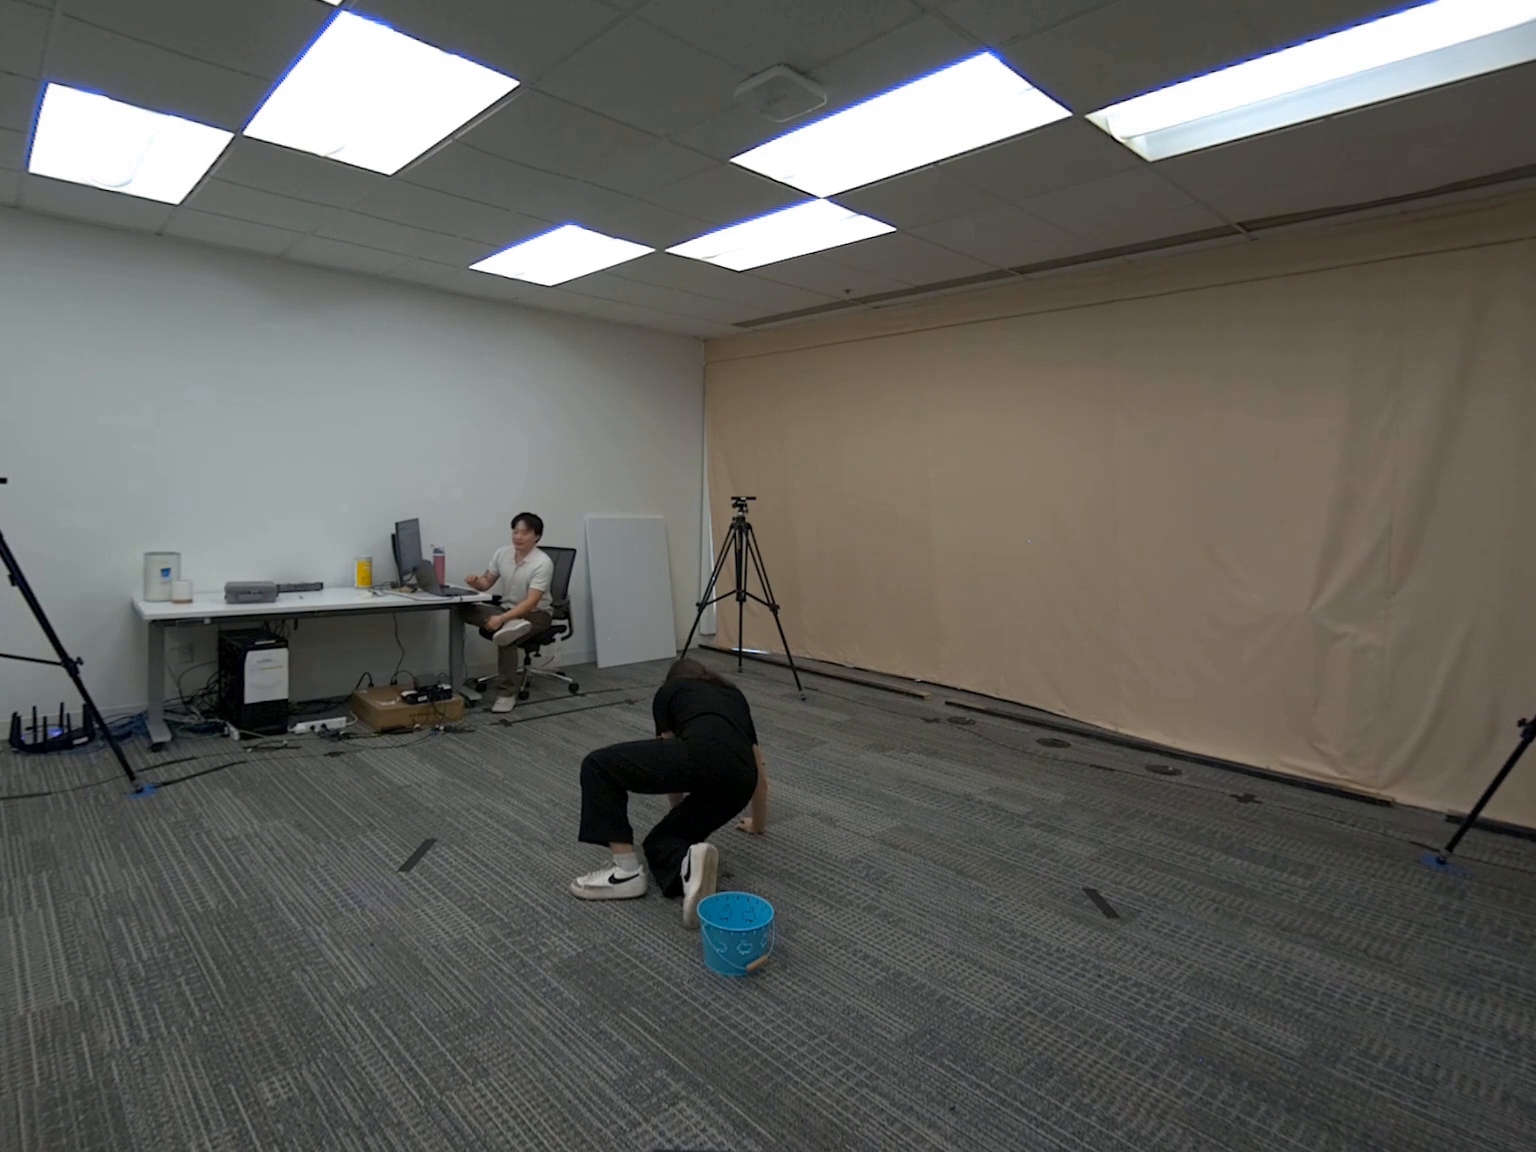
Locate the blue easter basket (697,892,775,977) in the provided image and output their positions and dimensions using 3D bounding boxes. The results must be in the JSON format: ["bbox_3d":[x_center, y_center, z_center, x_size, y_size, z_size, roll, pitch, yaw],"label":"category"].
[{"bbox_3d":[-0.113,1.081,2.529,0.243,0.155,0.244,2,4,-1],"label":"blue easter basket"}]
